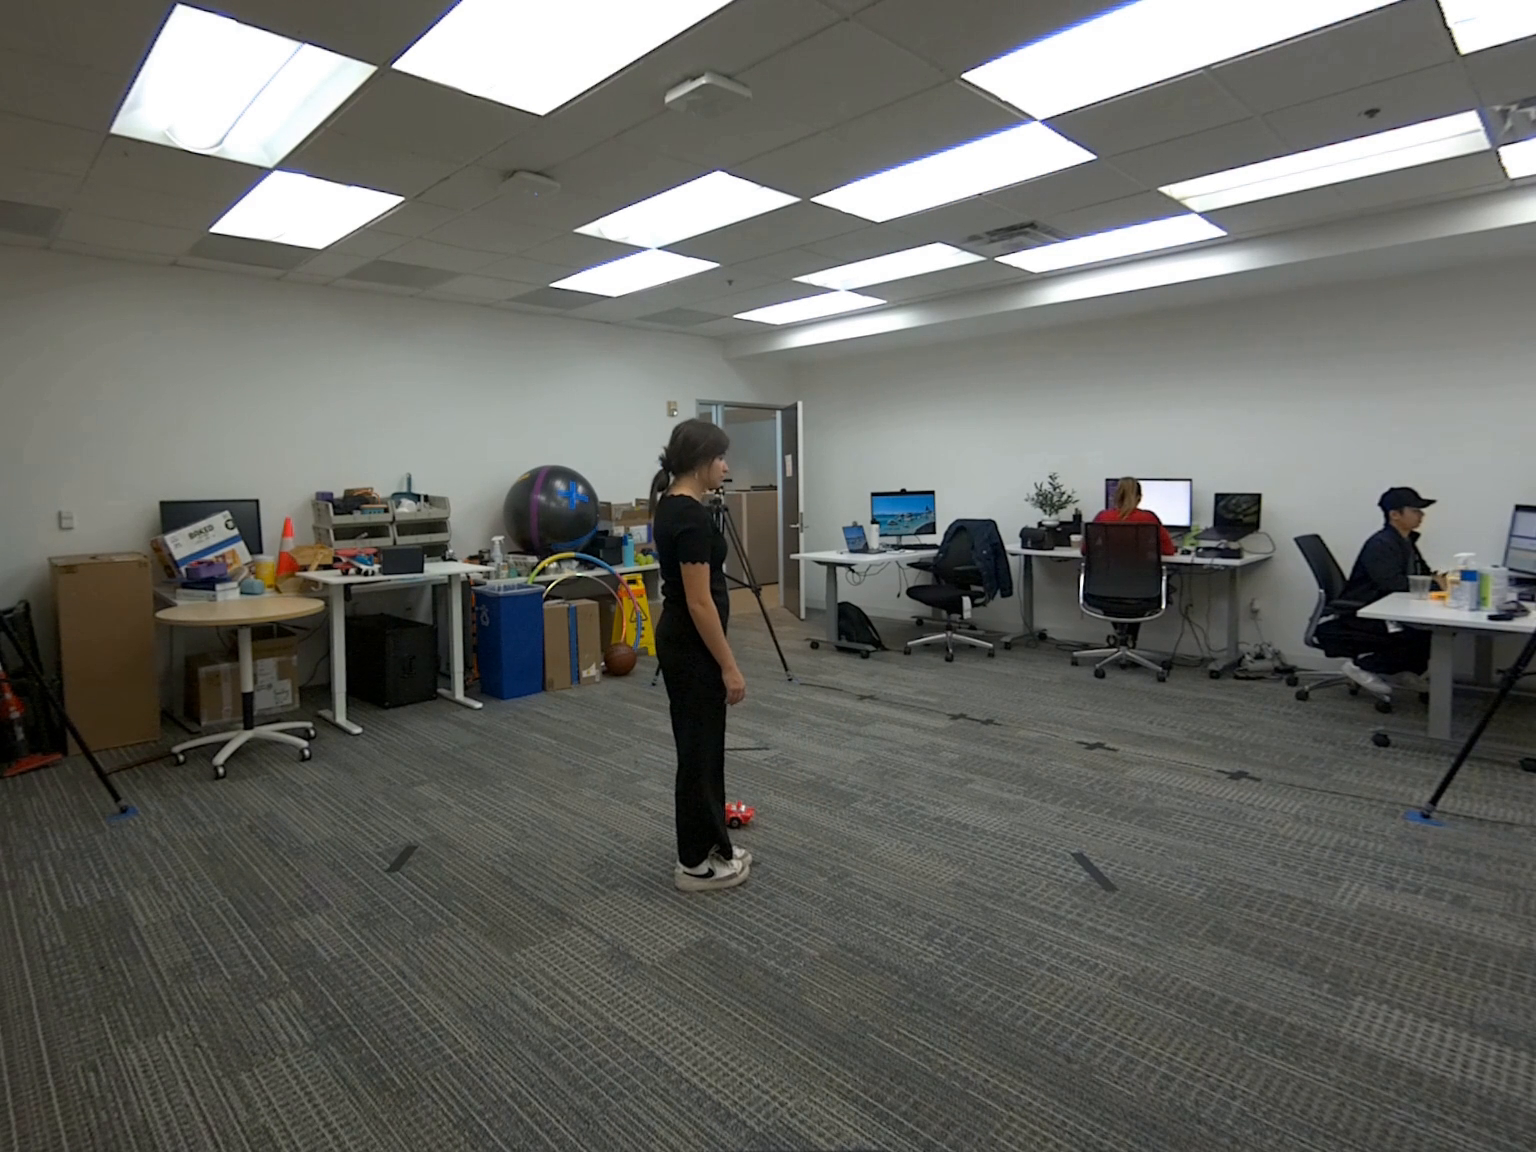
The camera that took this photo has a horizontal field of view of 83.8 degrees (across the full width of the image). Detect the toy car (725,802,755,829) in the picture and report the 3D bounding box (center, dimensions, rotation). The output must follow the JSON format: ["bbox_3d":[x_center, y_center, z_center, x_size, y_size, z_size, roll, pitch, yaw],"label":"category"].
[{"bbox_3d":[-0.175,0.974,3.475,0.256,0.083,0.130,-12,6,7],"label":"toy car"}]
